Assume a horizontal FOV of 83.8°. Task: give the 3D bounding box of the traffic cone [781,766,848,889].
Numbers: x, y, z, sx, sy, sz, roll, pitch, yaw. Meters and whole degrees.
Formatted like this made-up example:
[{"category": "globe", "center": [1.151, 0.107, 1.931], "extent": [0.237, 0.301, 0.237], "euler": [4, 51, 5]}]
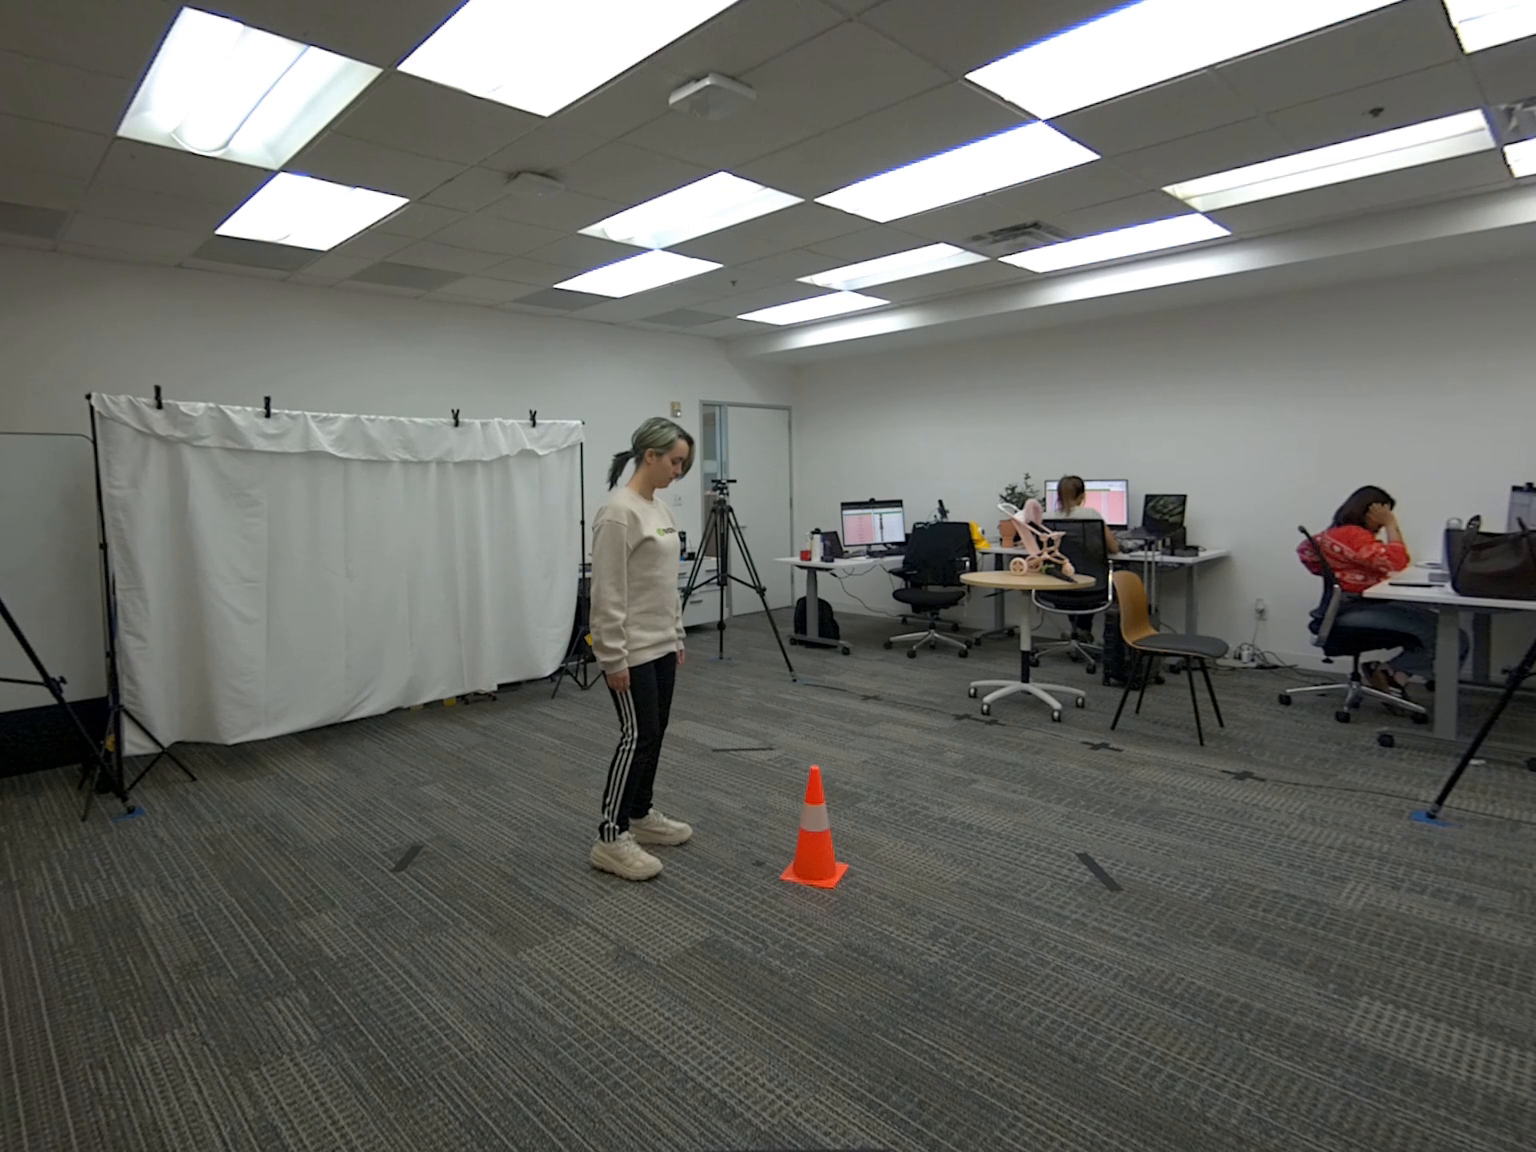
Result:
[{"category": "traffic cone", "center": [0.161, 0.863, 3.018], "extent": [0.208, 0.382, 0.201], "euler": [1, 5, 24]}]
